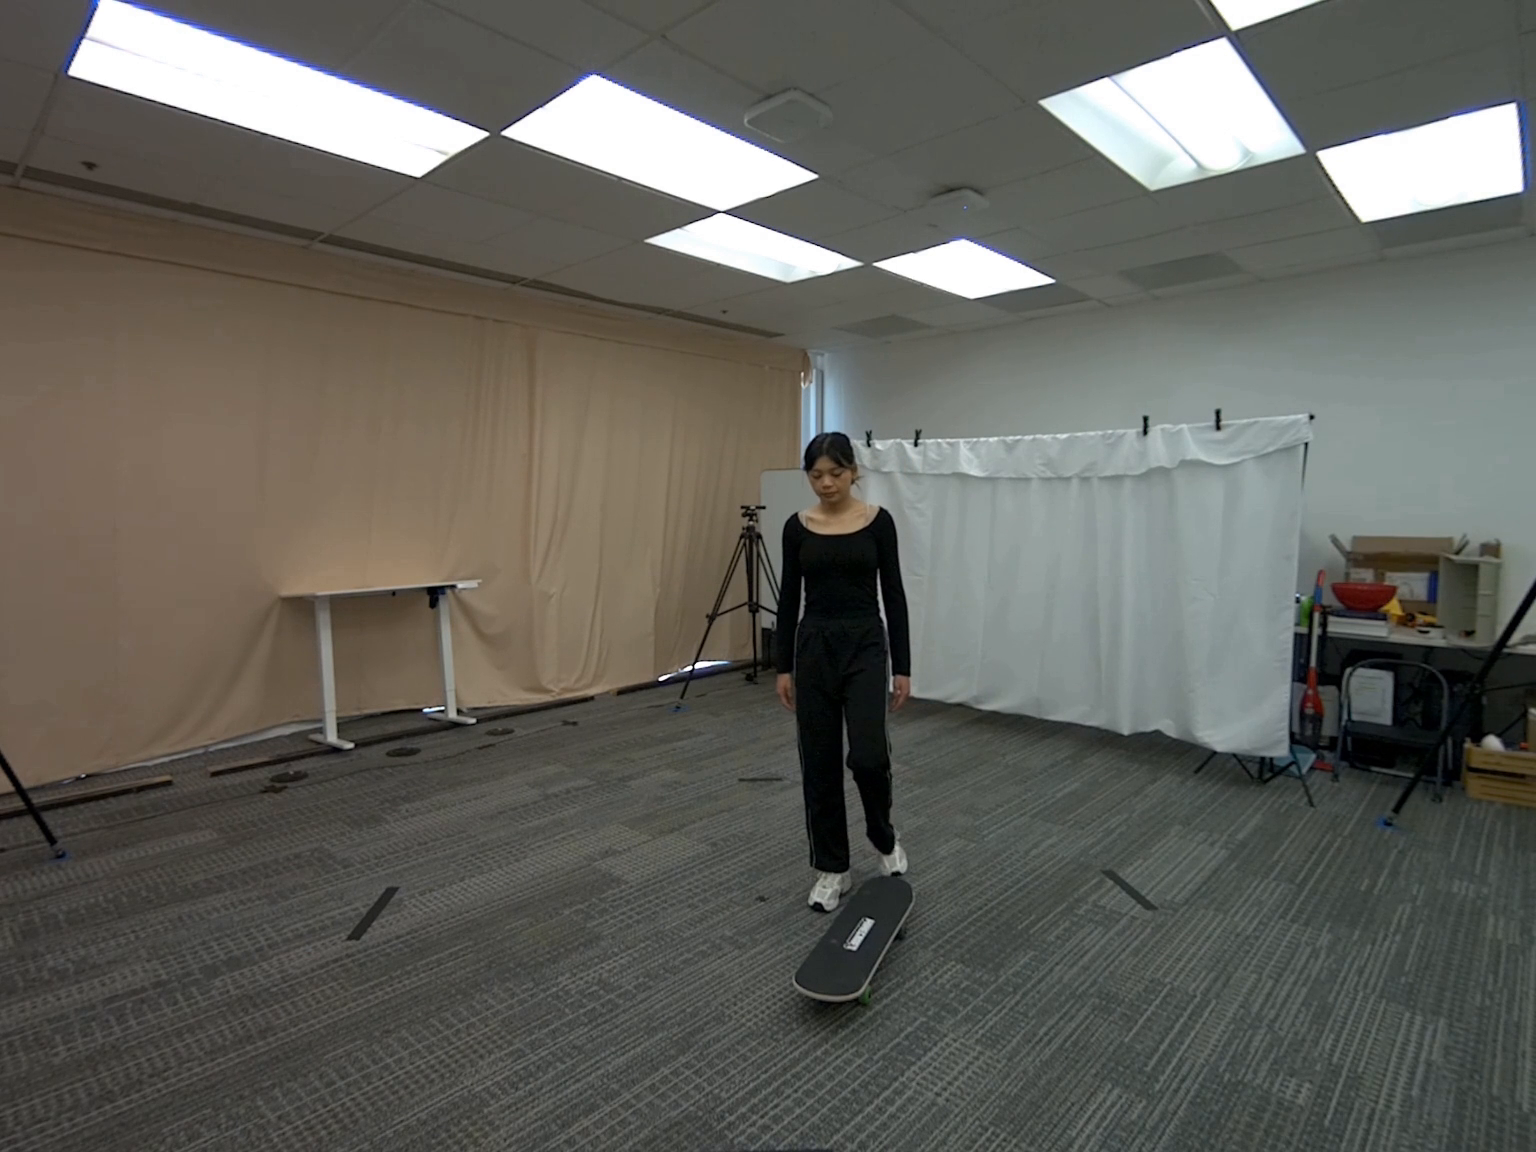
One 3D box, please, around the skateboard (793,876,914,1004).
[{"bbox_3d":[0.283,1.123,2.566,0.198,0.110,0.768,1,5,23],"label":"skateboard"}]
